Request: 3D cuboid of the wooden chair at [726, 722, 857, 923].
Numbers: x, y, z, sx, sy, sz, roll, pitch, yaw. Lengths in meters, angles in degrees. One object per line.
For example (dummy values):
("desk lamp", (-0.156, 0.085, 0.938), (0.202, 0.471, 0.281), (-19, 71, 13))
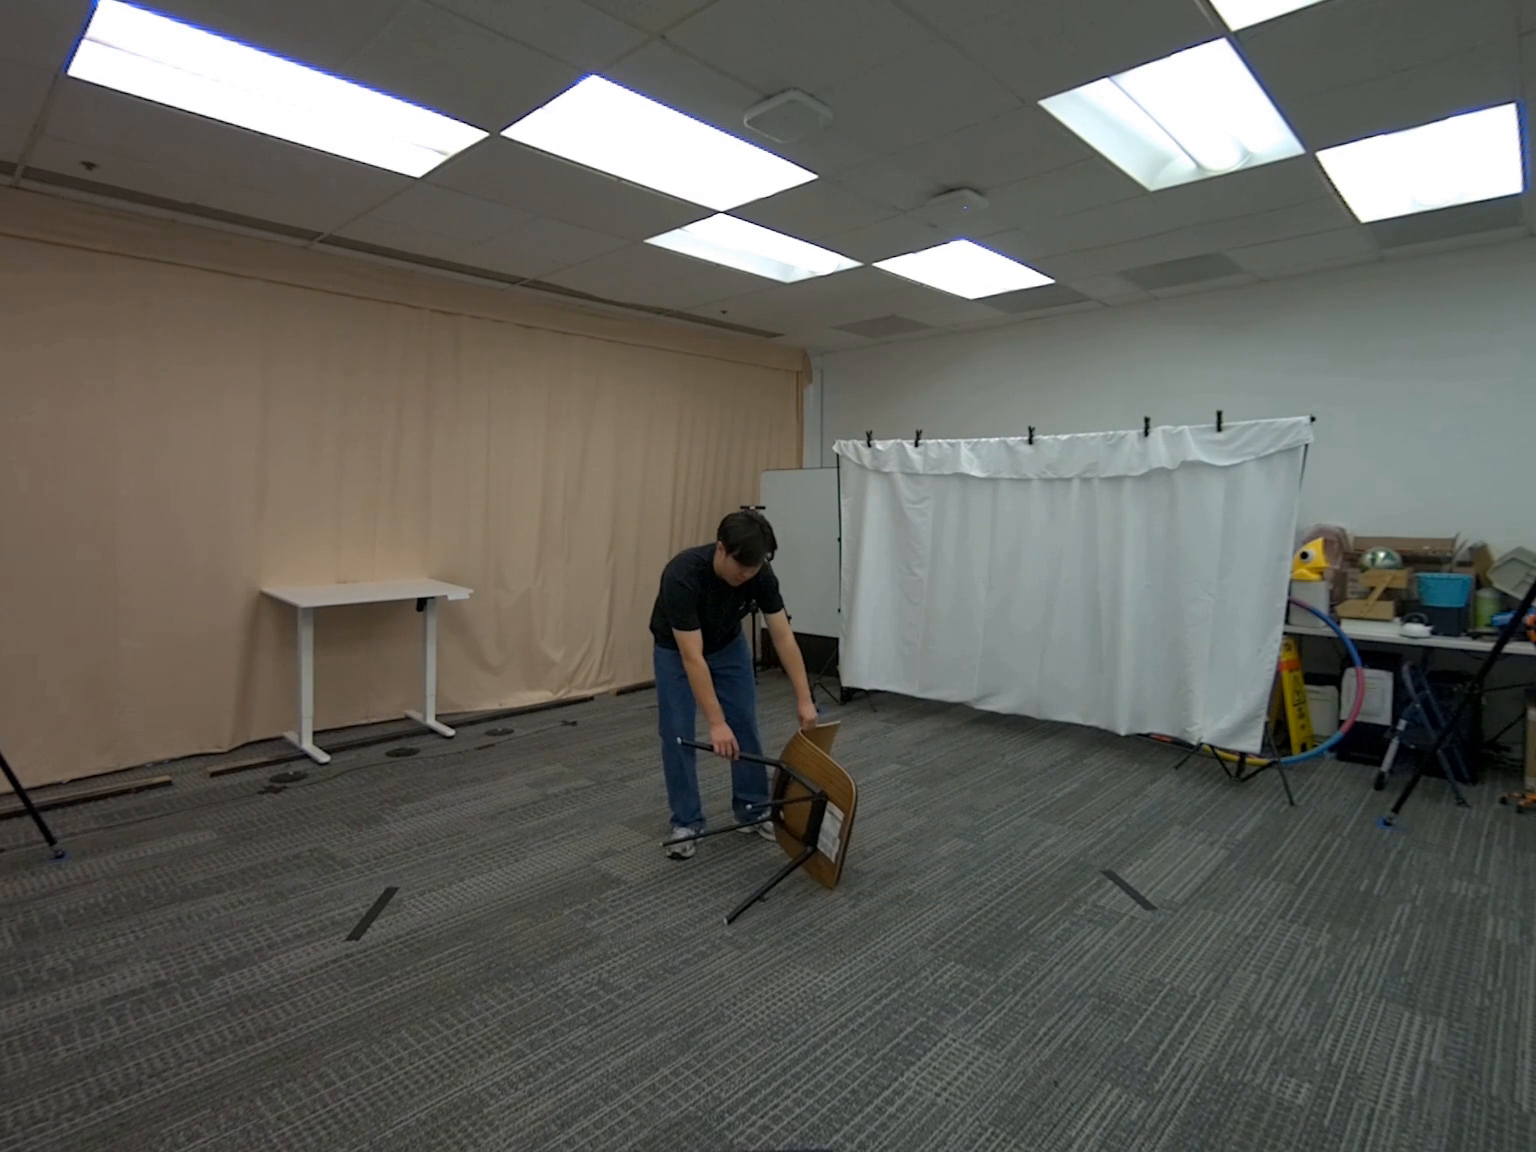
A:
("wooden chair", (0.116, 0.869, 3.145), (0.850, 0.475, 0.543), (-3, 20, -41))
